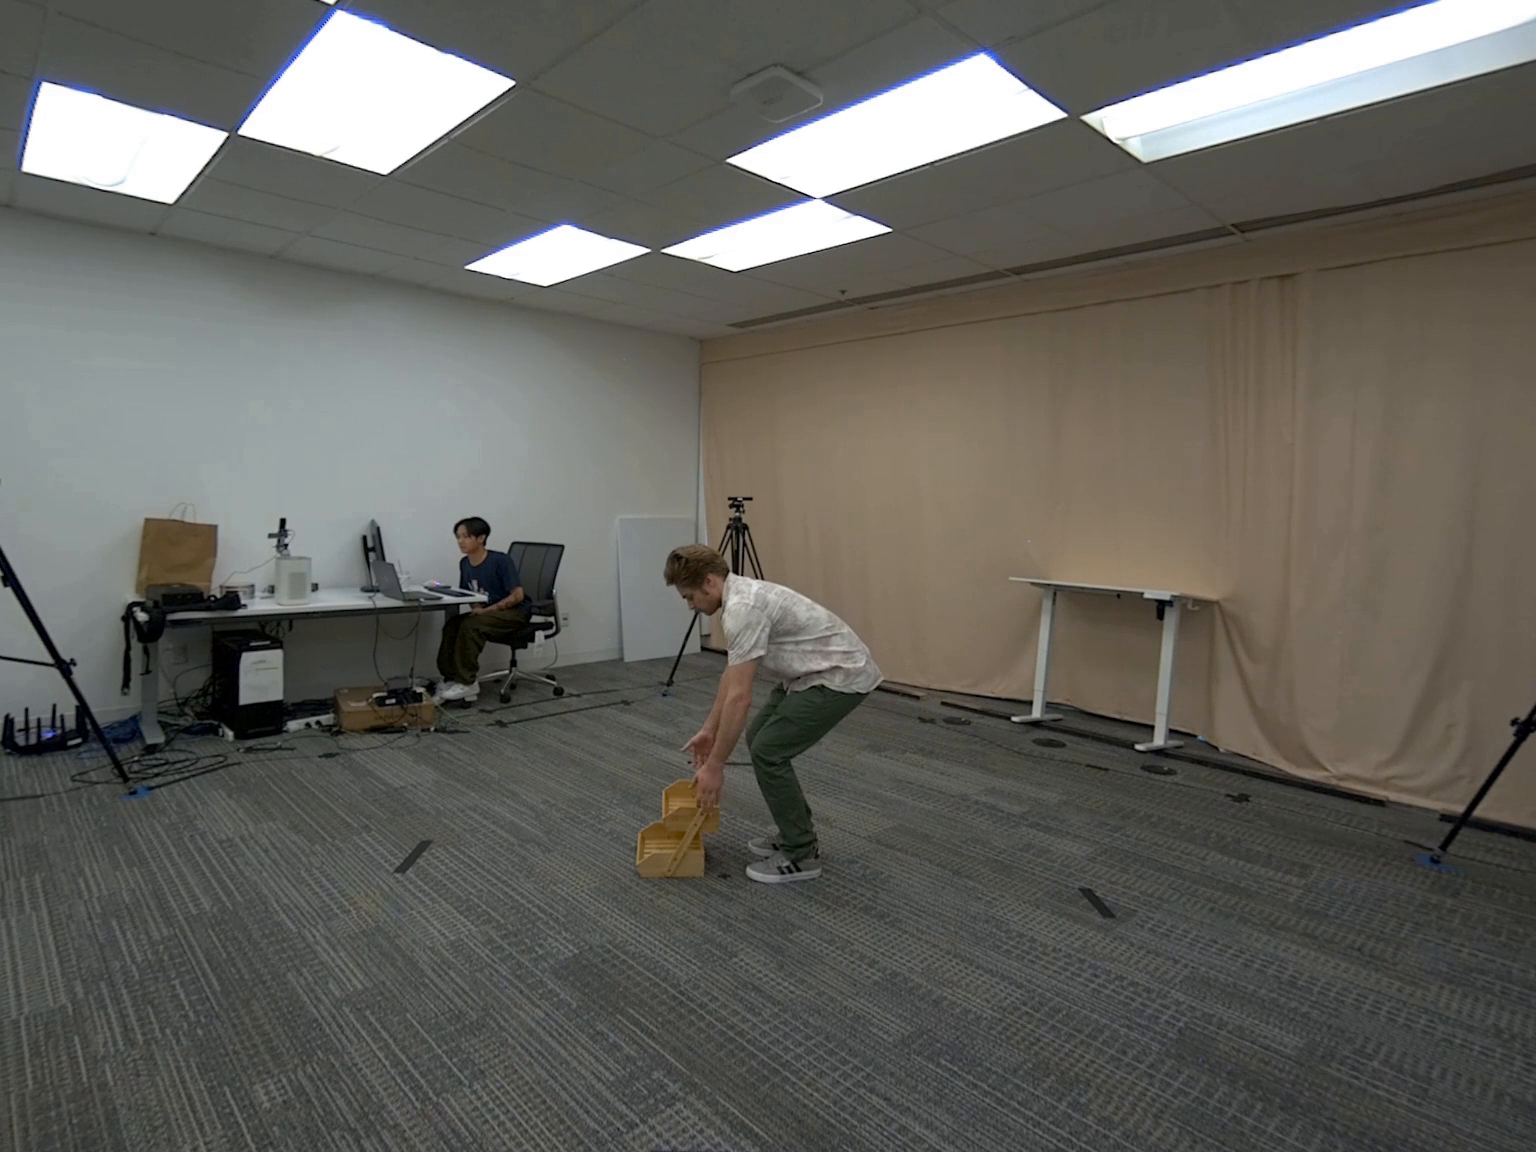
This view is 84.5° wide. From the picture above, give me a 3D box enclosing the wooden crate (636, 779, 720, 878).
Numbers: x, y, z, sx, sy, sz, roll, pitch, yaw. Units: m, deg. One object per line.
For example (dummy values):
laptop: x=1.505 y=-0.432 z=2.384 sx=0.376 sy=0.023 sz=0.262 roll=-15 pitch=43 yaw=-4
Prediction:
wooden crate: x=-0.357 y=0.954 z=3.234 sx=0.300 sy=0.272 sz=0.327 roll=1 pitch=4 yaw=-6
